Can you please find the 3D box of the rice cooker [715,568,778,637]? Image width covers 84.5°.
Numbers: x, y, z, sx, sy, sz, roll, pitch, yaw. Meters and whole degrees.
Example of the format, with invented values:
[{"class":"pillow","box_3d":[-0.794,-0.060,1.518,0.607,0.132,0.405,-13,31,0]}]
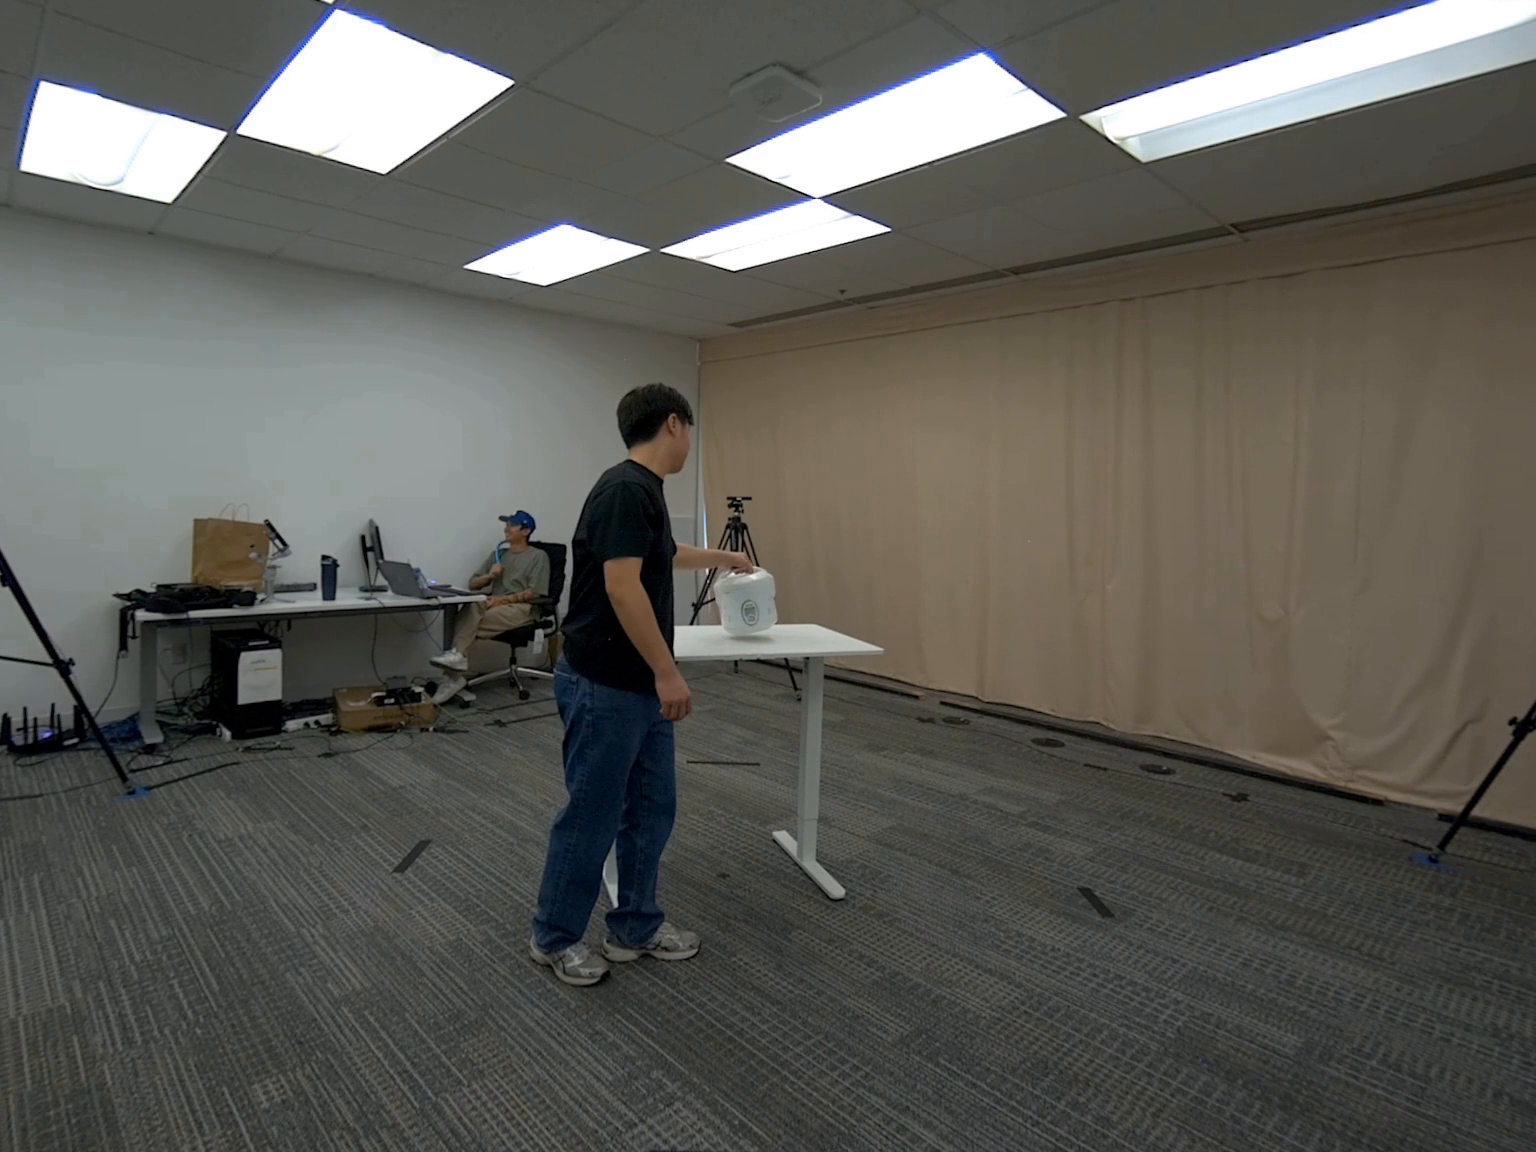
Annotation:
[{"class":"rice cooker","box_3d":[-0.081,0.081,3.052,0.220,0.231,0.219,-11,7,-4]}]
